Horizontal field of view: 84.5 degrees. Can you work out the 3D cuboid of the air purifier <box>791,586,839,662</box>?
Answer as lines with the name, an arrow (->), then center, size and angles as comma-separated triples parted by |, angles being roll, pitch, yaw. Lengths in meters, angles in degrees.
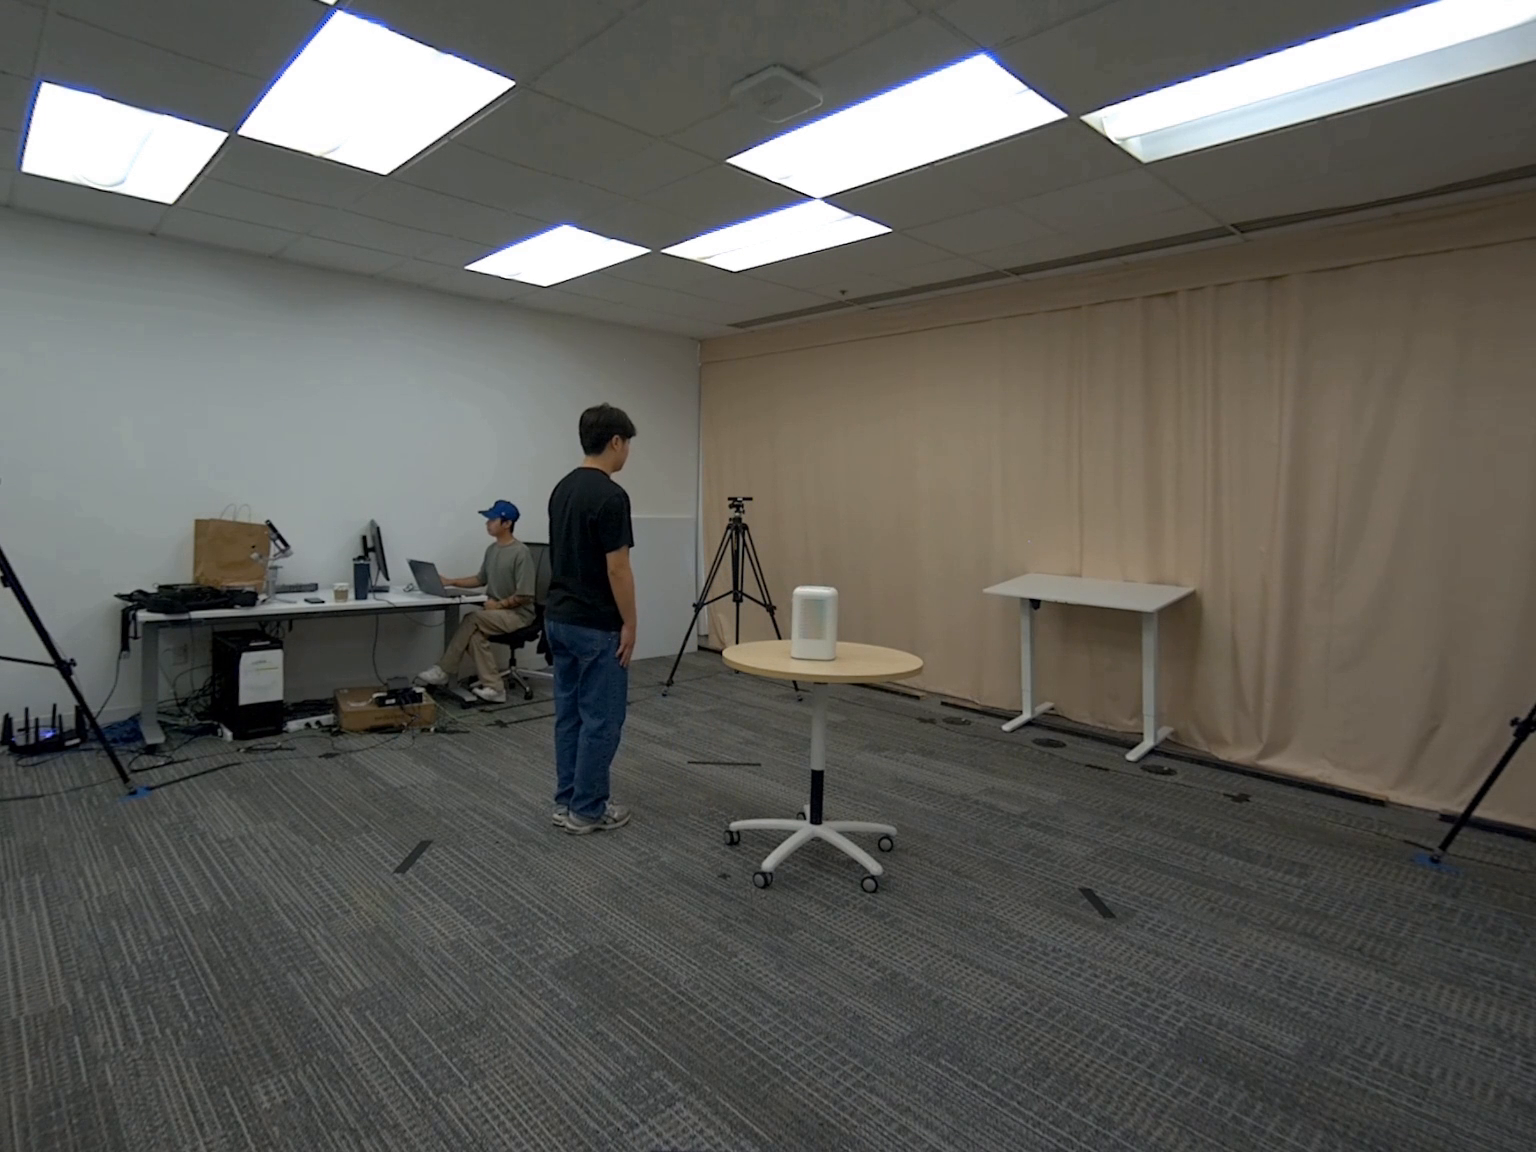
air purifier -> 0.171, 0.178, 3.216 | 0.173, 0.265, 0.170 | 1, 2, 10
